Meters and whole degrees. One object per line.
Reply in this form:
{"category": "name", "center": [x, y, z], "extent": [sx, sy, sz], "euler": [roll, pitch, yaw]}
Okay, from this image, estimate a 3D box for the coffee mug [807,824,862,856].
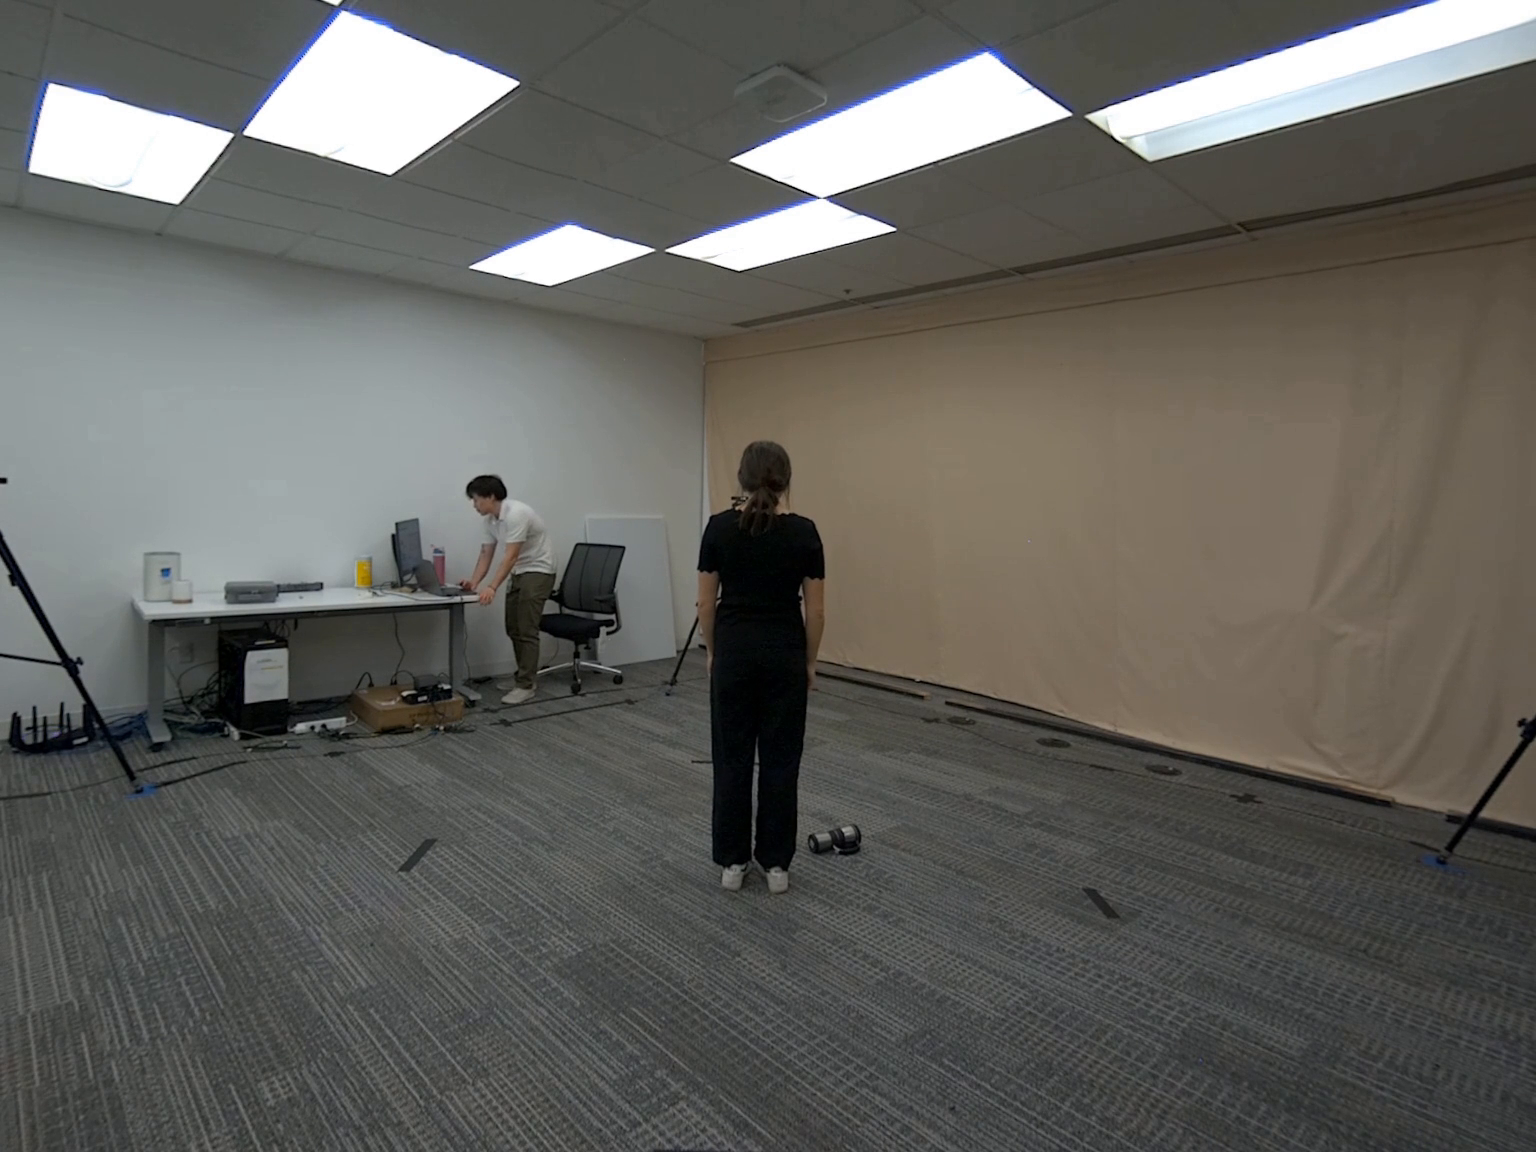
{"category": "coffee mug", "center": [0.262, 1.047, 3.345], "extent": [0.199, 0.088, 0.123], "euler": [-2, -6, -28]}
